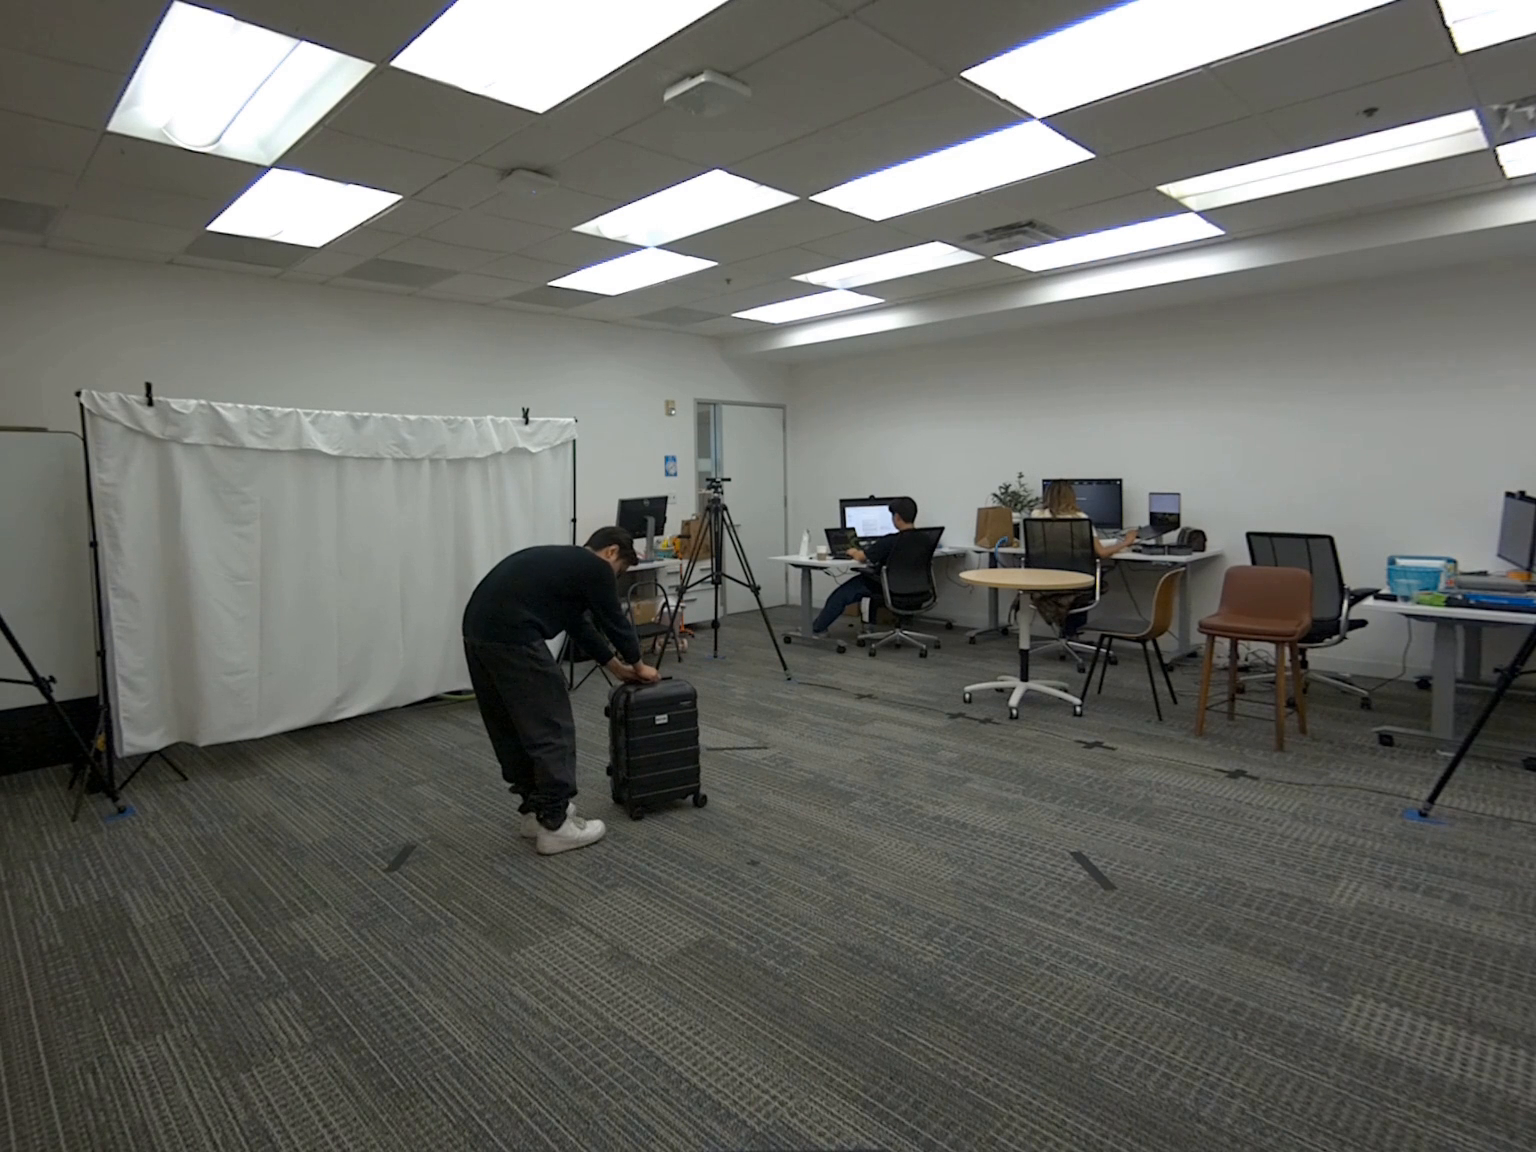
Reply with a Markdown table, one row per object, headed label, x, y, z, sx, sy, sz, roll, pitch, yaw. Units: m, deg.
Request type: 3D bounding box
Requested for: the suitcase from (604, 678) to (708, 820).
| label | x | y | z | sx | sy | sz | roll | pitch | yaw |
| --- | --- | --- | --- | --- | --- | --- | --- | --- | --- |
| suitcase | -0.485 | 0.713 | 3.663 | 0.367 | 0.546 | 0.255 | -5 | 6 | -27 |
